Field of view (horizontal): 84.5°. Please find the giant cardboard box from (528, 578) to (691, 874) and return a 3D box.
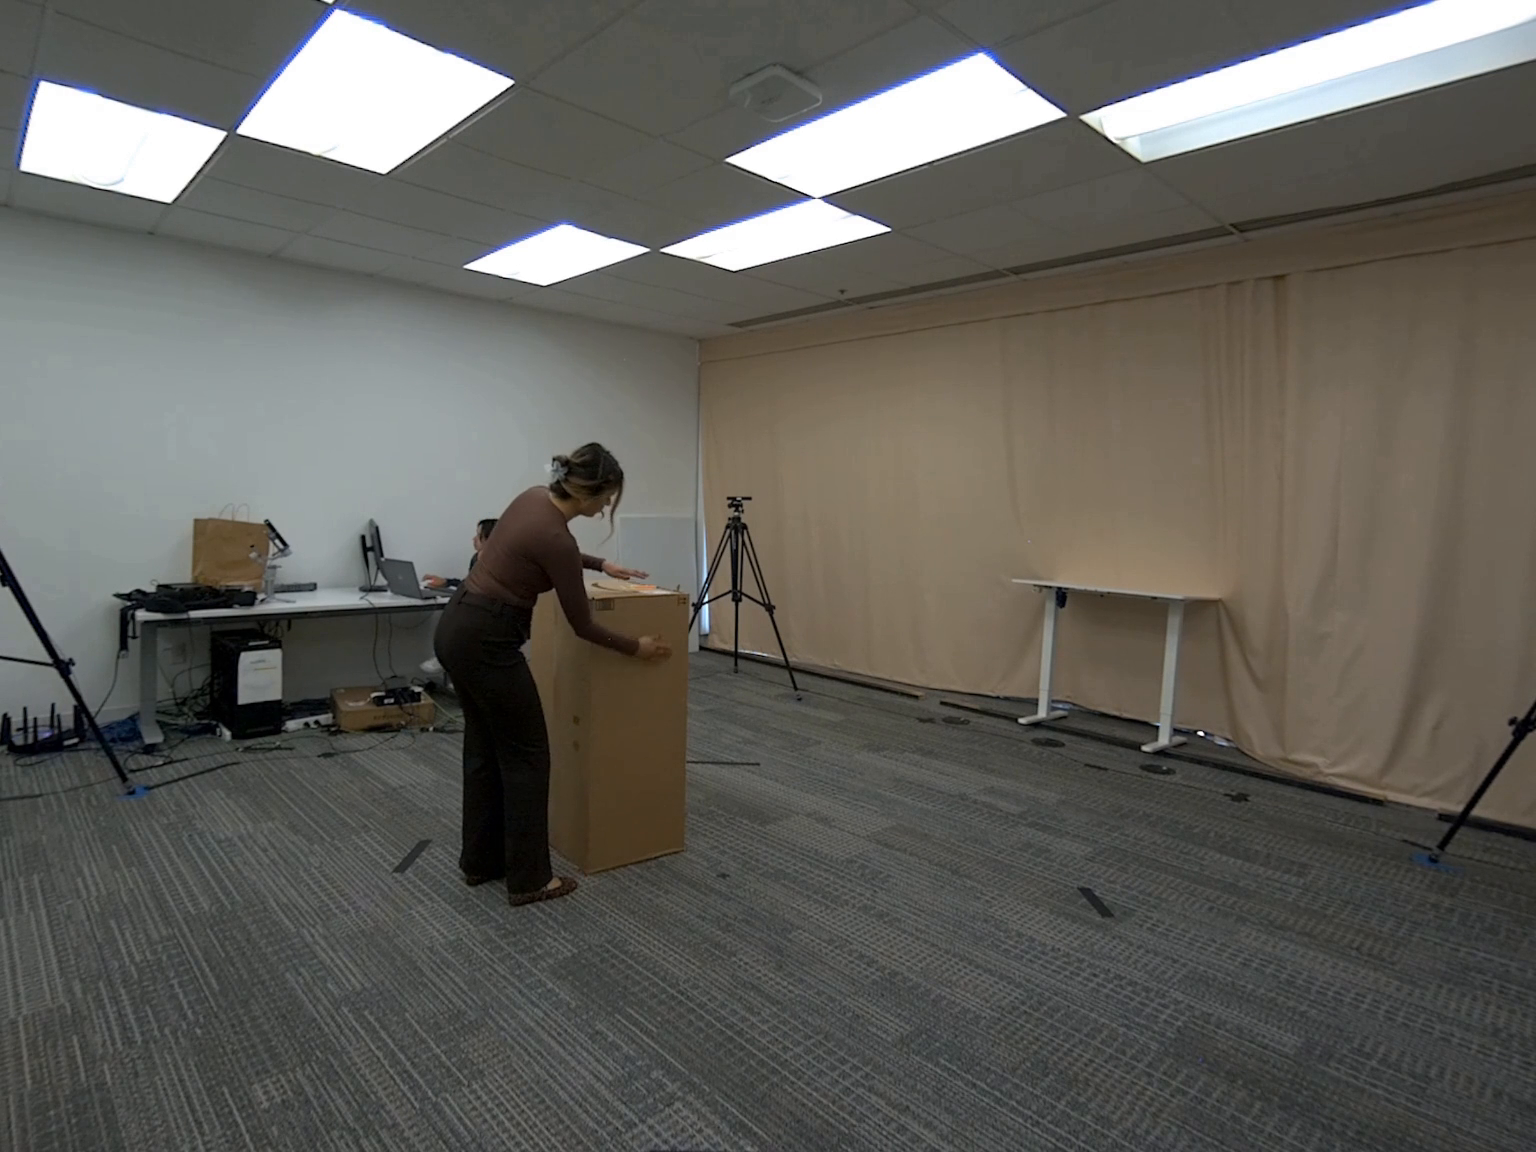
[{"bbox_3d":[-0.661,0.556,3.408,0.437,1.025,0.598,0,4,-36],"label":"giant cardboard box"}]
